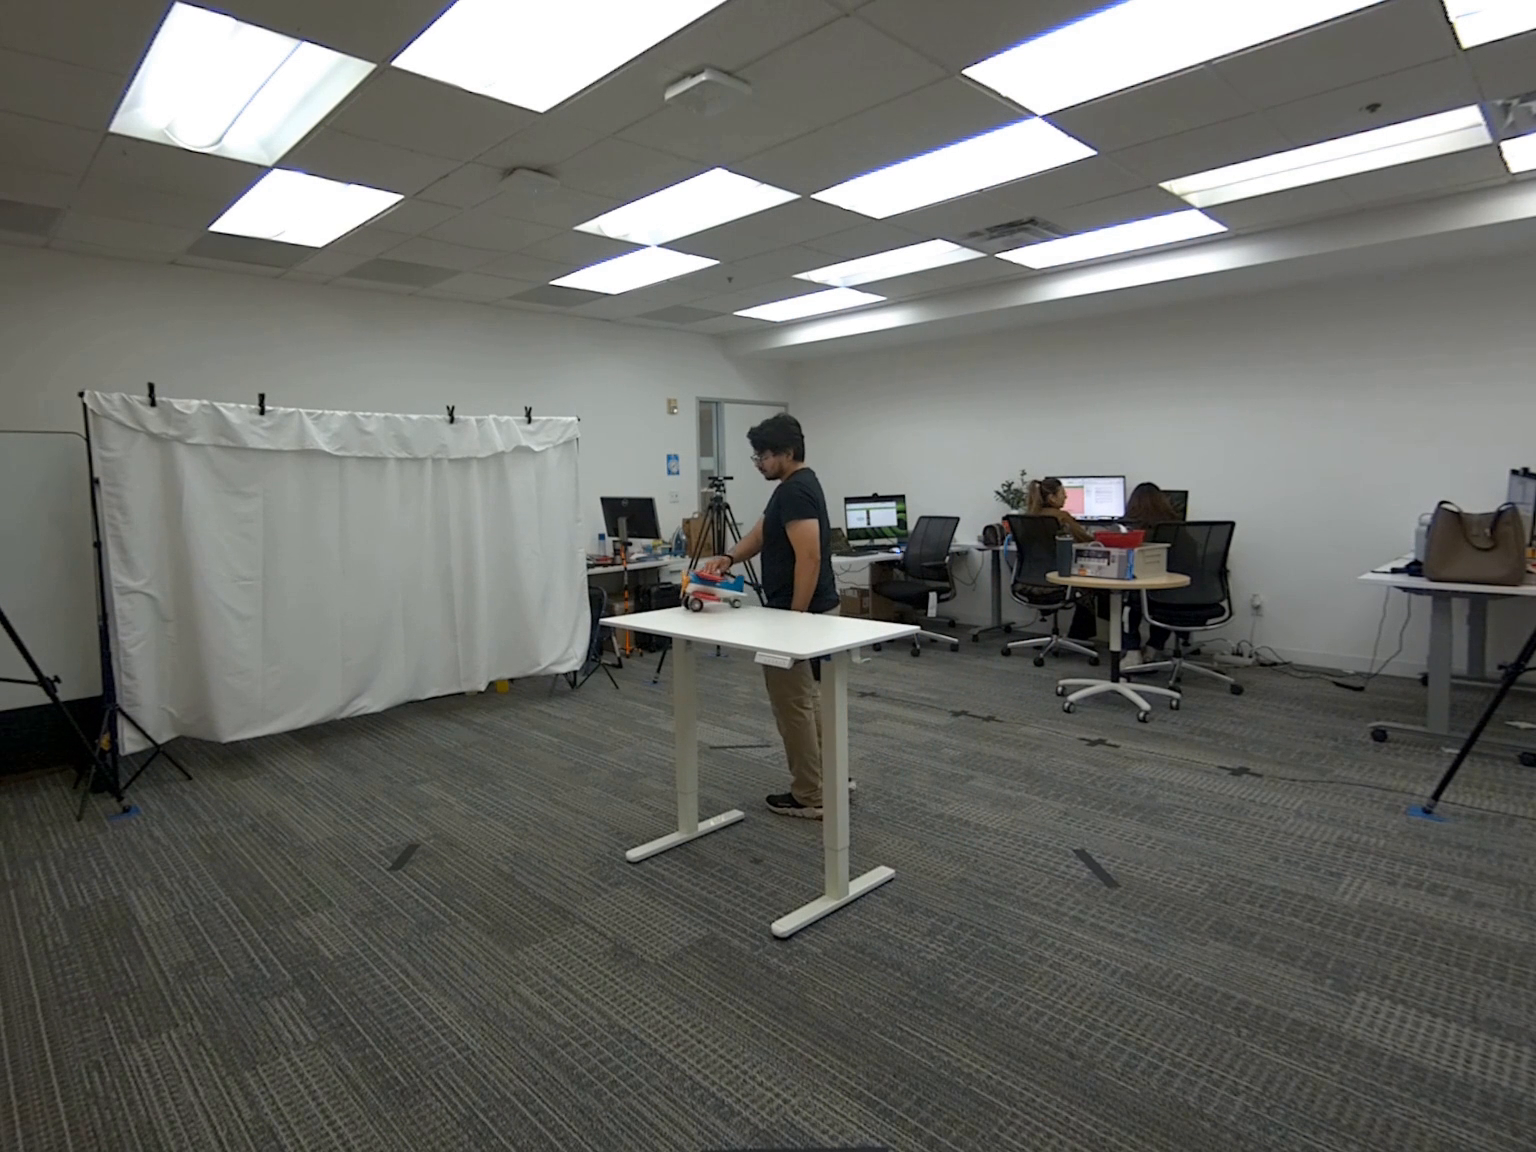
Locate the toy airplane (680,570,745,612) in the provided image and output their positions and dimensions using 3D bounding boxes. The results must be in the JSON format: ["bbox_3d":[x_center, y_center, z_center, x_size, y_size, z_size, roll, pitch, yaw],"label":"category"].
[{"bbox_3d":[-0.220,0.051,3.369,0.259,0.156,0.252,3,7,41],"label":"toy airplane"}]
